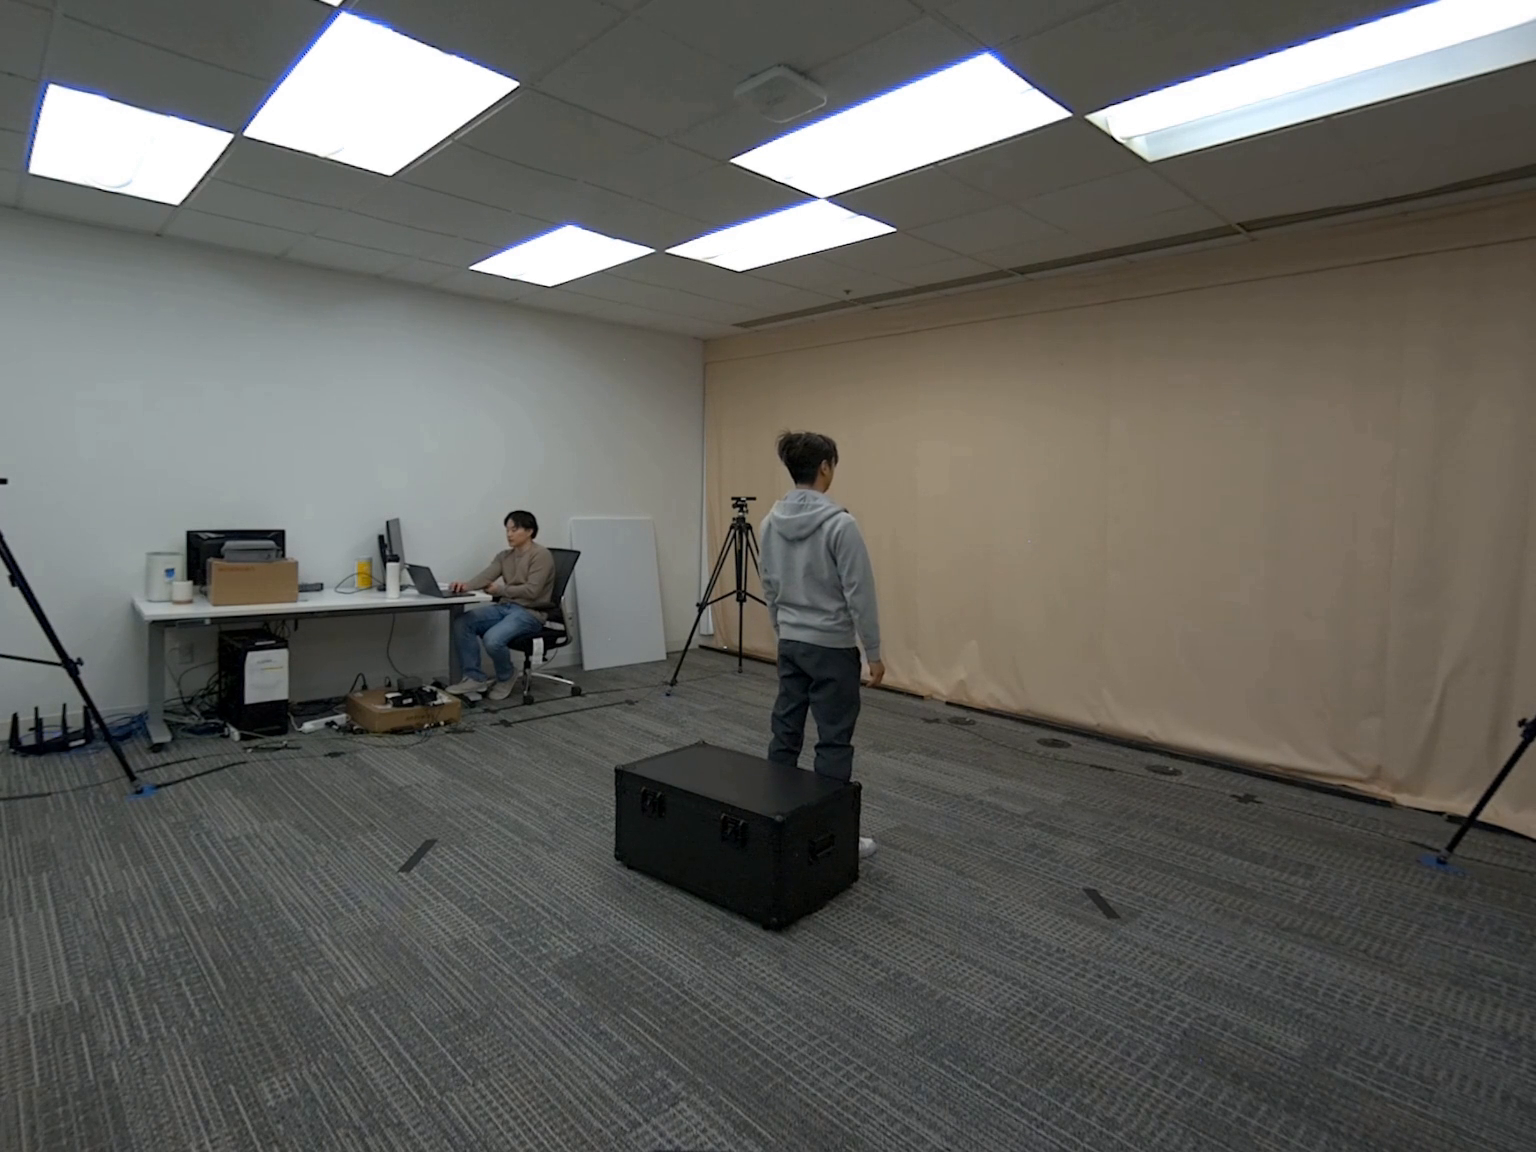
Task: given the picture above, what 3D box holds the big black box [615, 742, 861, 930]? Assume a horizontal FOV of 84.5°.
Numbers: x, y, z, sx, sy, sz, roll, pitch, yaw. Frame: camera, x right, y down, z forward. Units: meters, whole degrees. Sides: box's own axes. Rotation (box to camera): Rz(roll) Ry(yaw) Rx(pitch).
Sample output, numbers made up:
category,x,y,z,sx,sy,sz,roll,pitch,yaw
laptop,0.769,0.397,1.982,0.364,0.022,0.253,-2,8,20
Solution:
category,x,y,z,sx,sy,sz,roll,pitch,yaw
big black box,-0.111,0.923,3.067,0.883,0.395,0.510,5,6,40
